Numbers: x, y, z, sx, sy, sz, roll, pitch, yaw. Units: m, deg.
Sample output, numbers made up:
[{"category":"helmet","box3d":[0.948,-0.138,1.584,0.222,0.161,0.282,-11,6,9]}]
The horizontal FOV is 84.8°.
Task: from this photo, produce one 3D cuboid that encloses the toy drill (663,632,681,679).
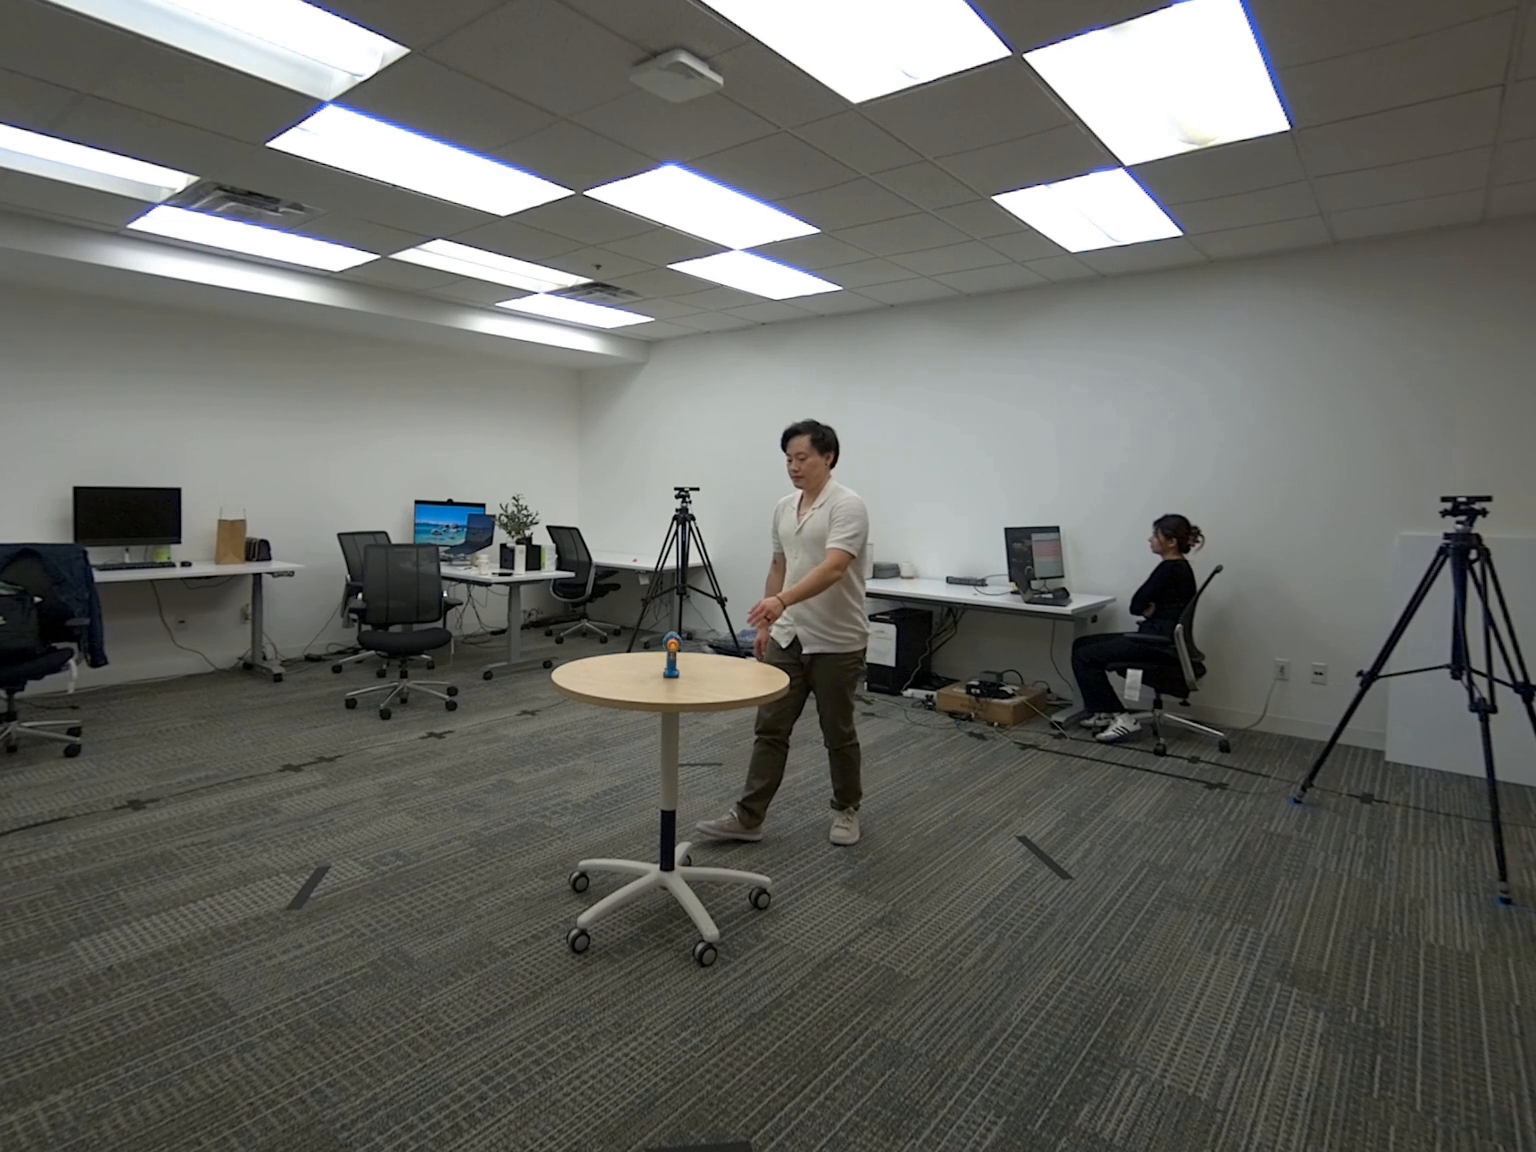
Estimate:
[{"category":"toy drill","box3d":[-0.305,0.250,2.684,0.060,0.146,0.172,2,4,-11]}]
